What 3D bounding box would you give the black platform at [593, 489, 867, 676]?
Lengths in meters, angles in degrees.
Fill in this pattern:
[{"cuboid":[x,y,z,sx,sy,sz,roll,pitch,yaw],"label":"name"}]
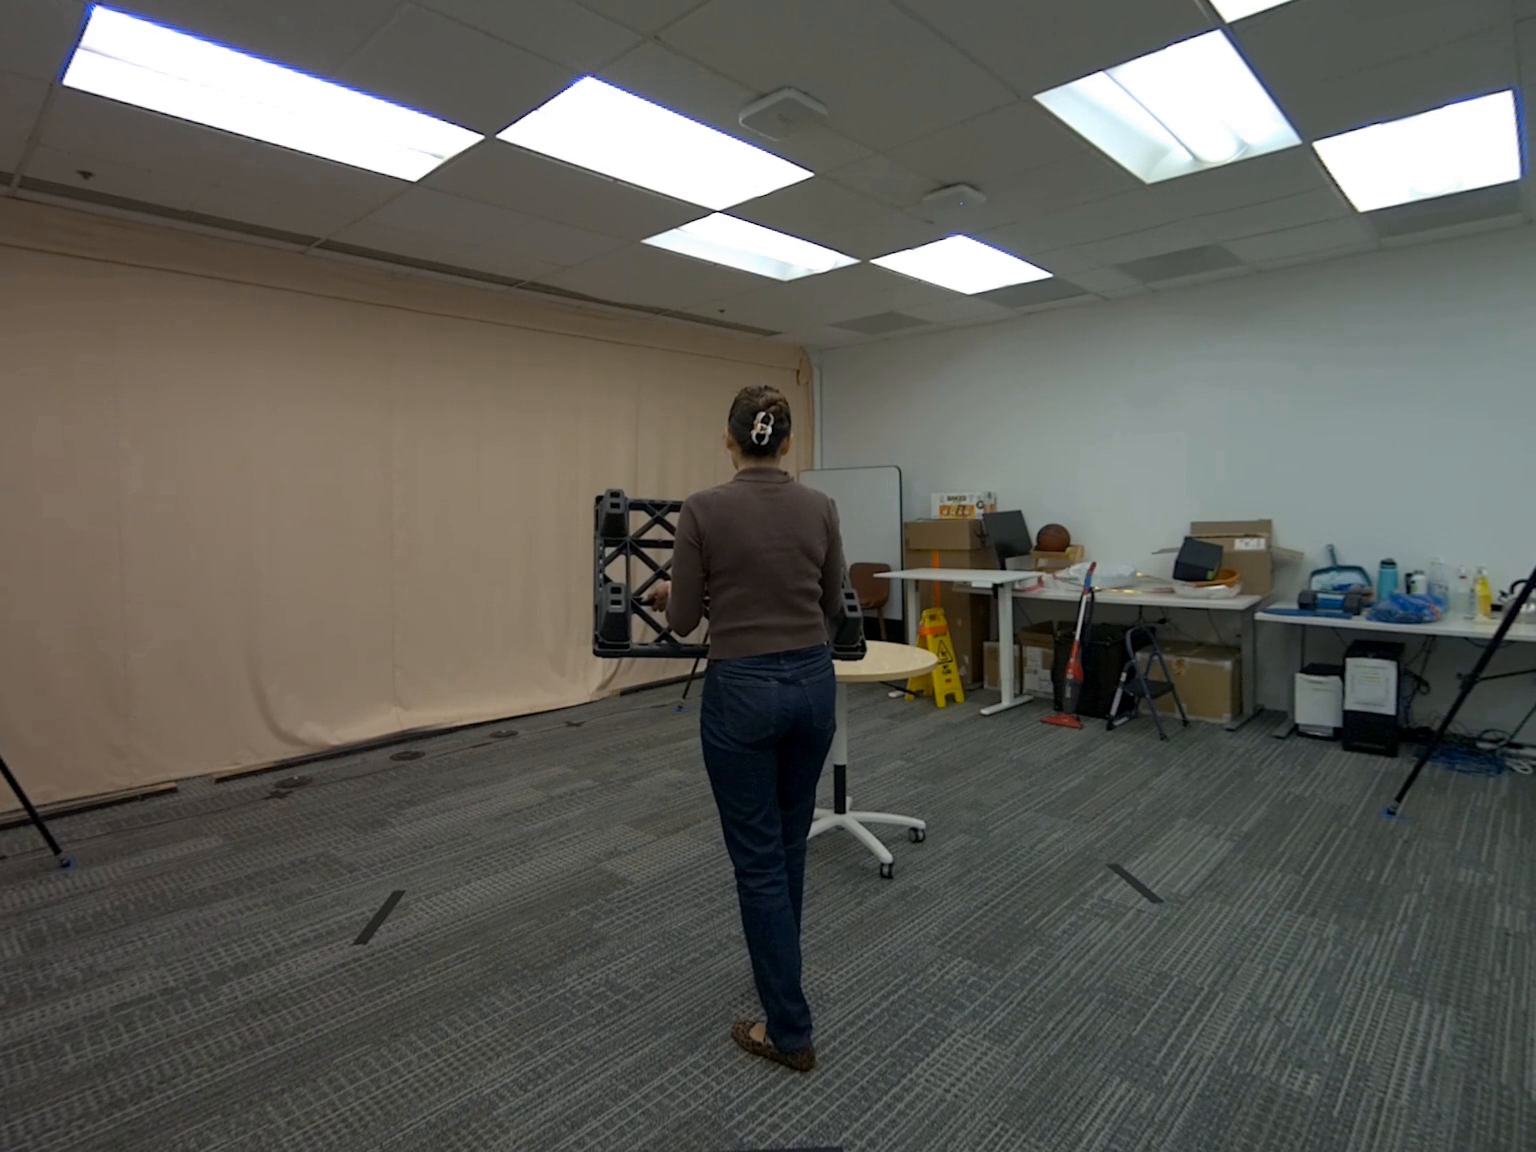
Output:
[{"cuboid":[-0.126,-0.027,2.555,0.797,0.618,0.142,1,-40,-10],"label":"black platform"}]
